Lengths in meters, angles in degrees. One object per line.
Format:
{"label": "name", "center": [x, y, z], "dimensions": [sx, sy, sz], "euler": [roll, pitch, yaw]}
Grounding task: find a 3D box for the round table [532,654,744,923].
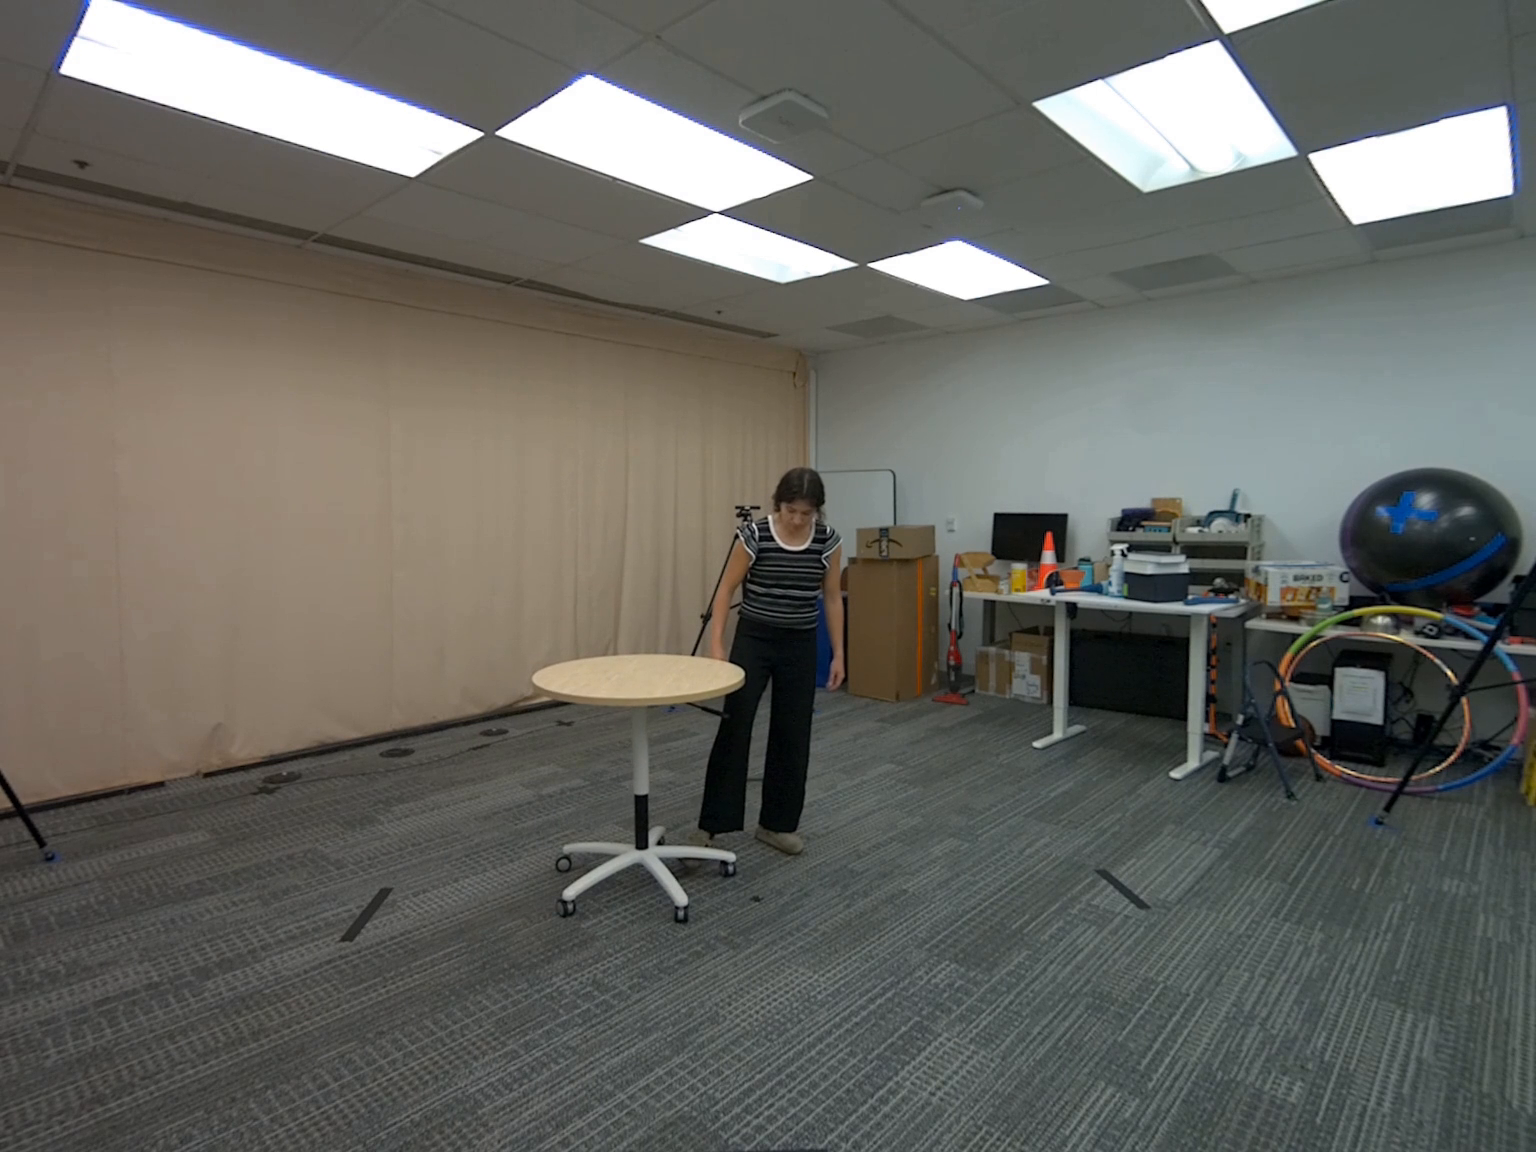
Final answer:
{"label": "round table", "center": [-0.477, 0.745, 3.086], "dimensions": [0.784, 0.785, 0.788], "euler": [0, 4, -2]}
